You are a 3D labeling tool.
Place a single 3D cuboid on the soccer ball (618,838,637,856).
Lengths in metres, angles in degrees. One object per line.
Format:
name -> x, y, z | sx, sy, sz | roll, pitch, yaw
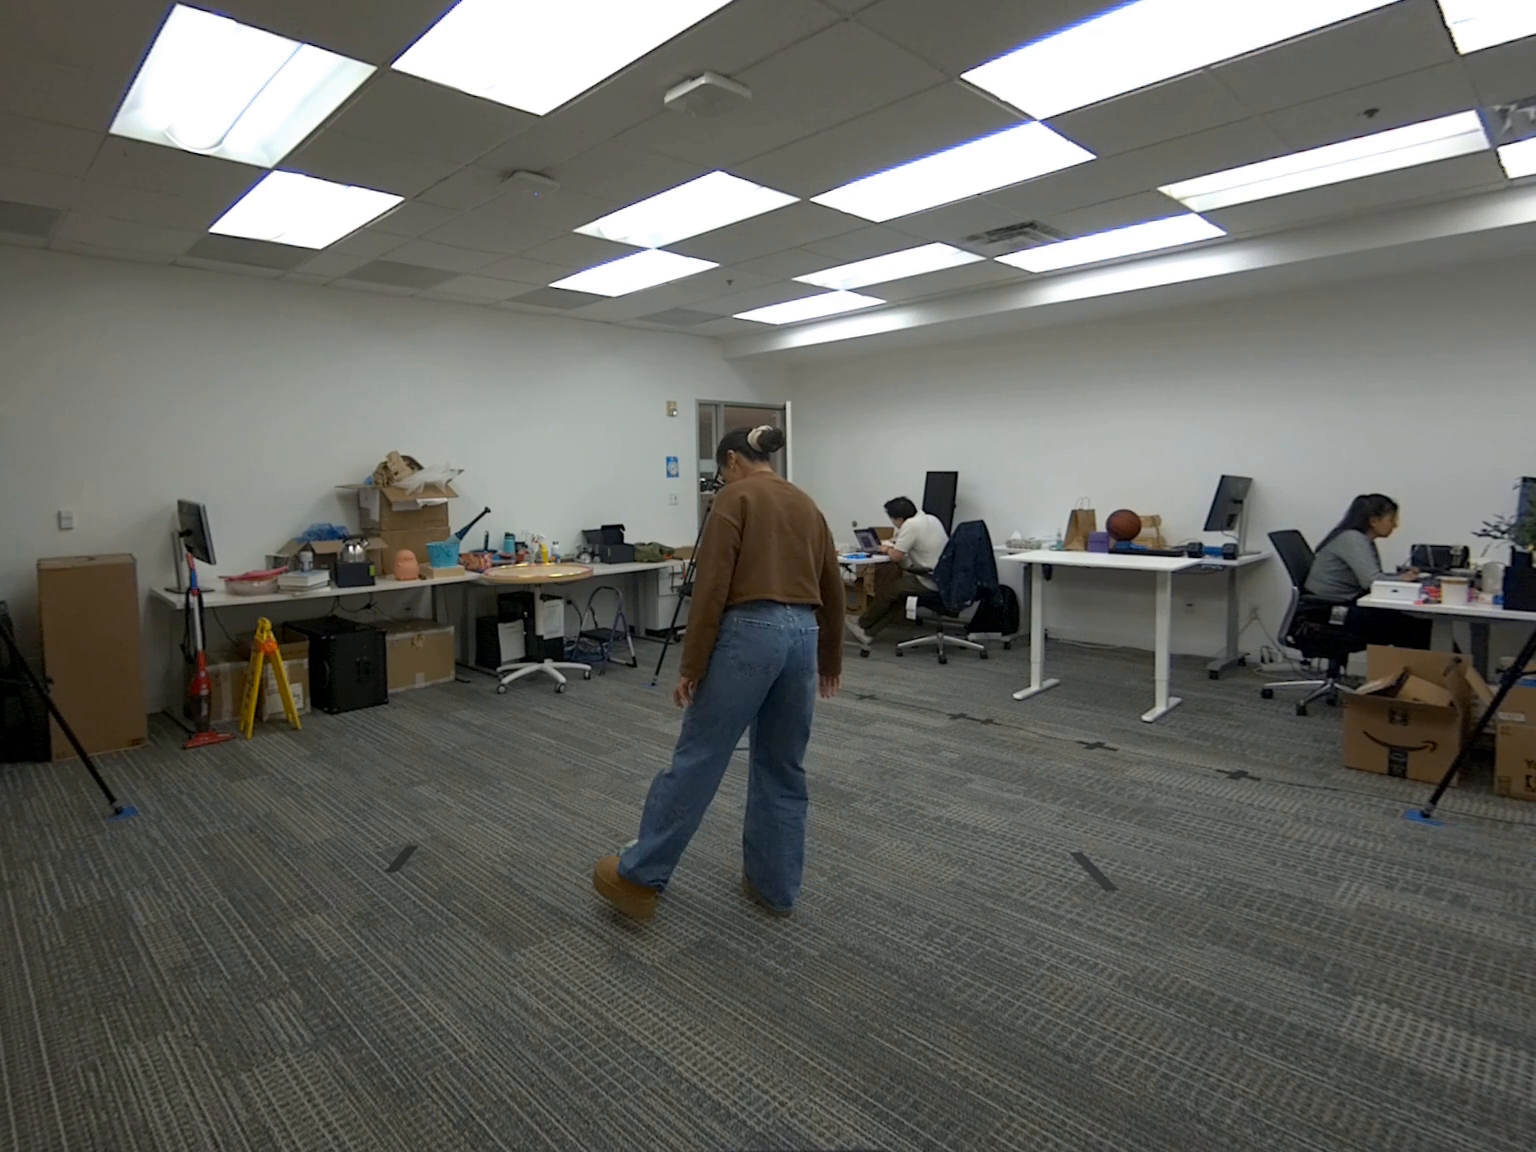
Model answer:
soccer ball -> -0.410, 0.985, 2.885 | 0.187, 0.187, 0.188 | -1, 5, -2
